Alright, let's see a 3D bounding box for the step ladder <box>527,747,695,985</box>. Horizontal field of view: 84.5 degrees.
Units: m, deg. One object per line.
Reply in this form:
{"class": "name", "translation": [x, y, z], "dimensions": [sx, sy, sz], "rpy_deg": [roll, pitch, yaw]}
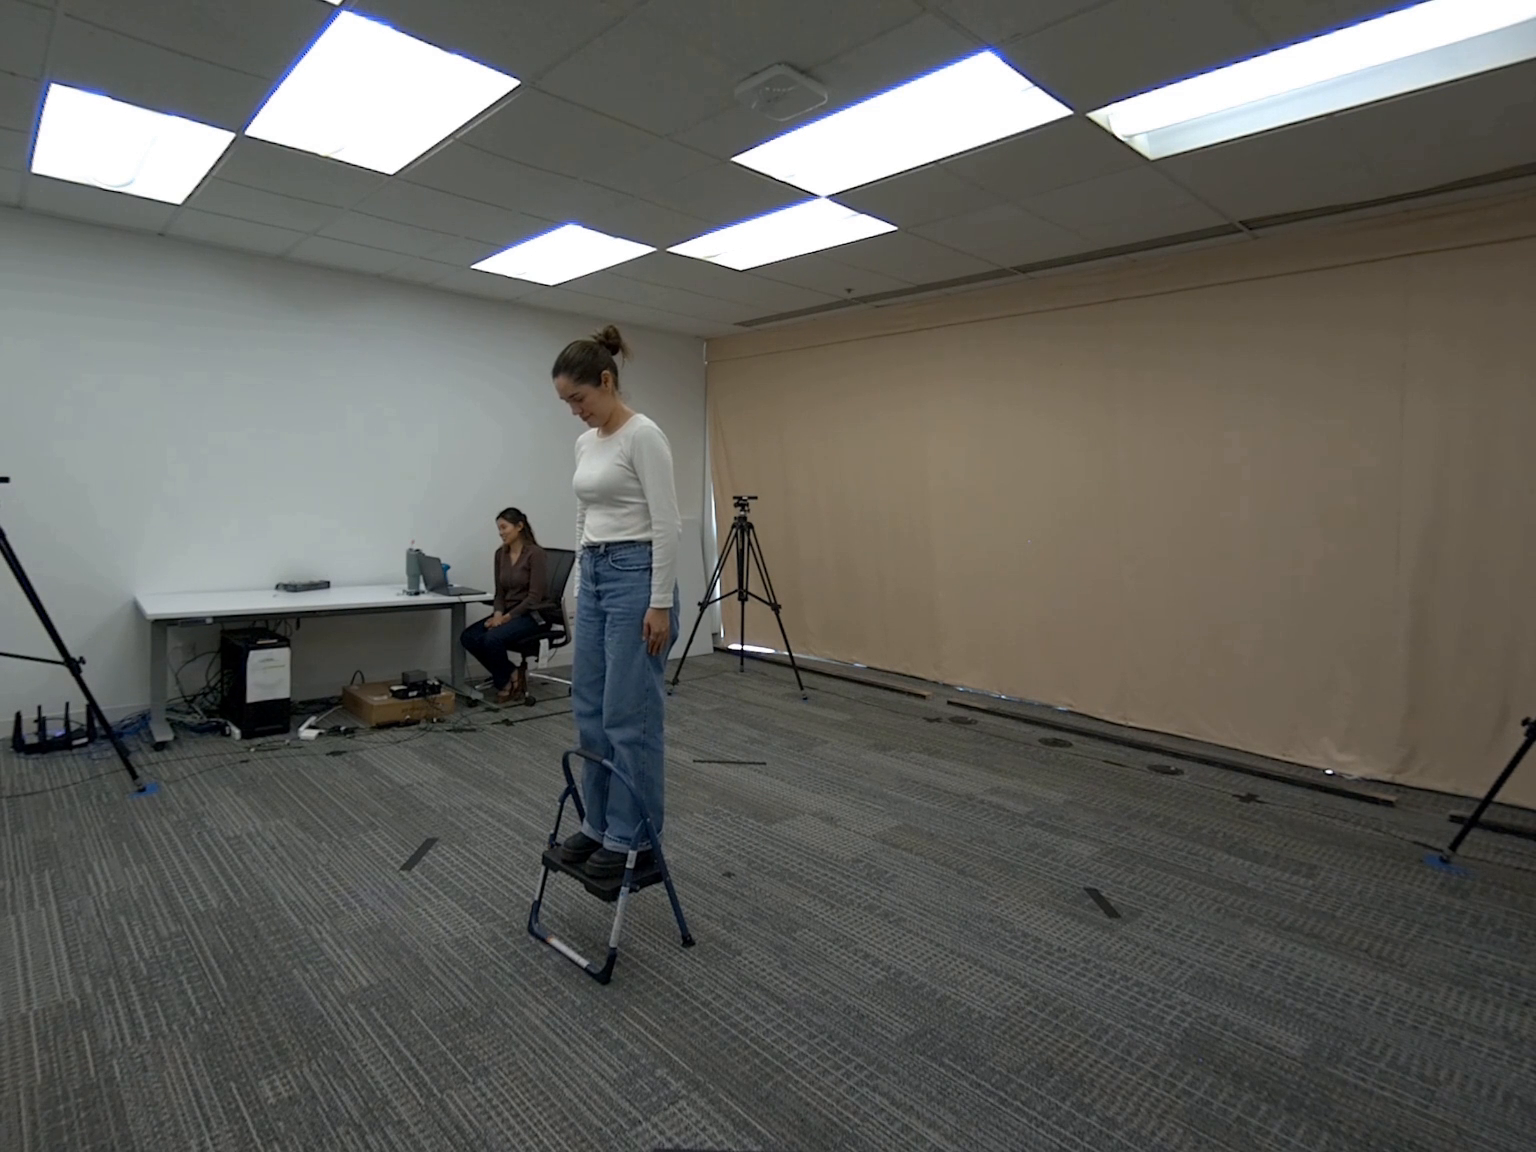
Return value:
{"class": "step ladder", "translation": [-0.500, 0.839, 2.628], "dimensions": [0.441, 0.604, 0.341], "rpy_deg": [4, 5, 43]}
